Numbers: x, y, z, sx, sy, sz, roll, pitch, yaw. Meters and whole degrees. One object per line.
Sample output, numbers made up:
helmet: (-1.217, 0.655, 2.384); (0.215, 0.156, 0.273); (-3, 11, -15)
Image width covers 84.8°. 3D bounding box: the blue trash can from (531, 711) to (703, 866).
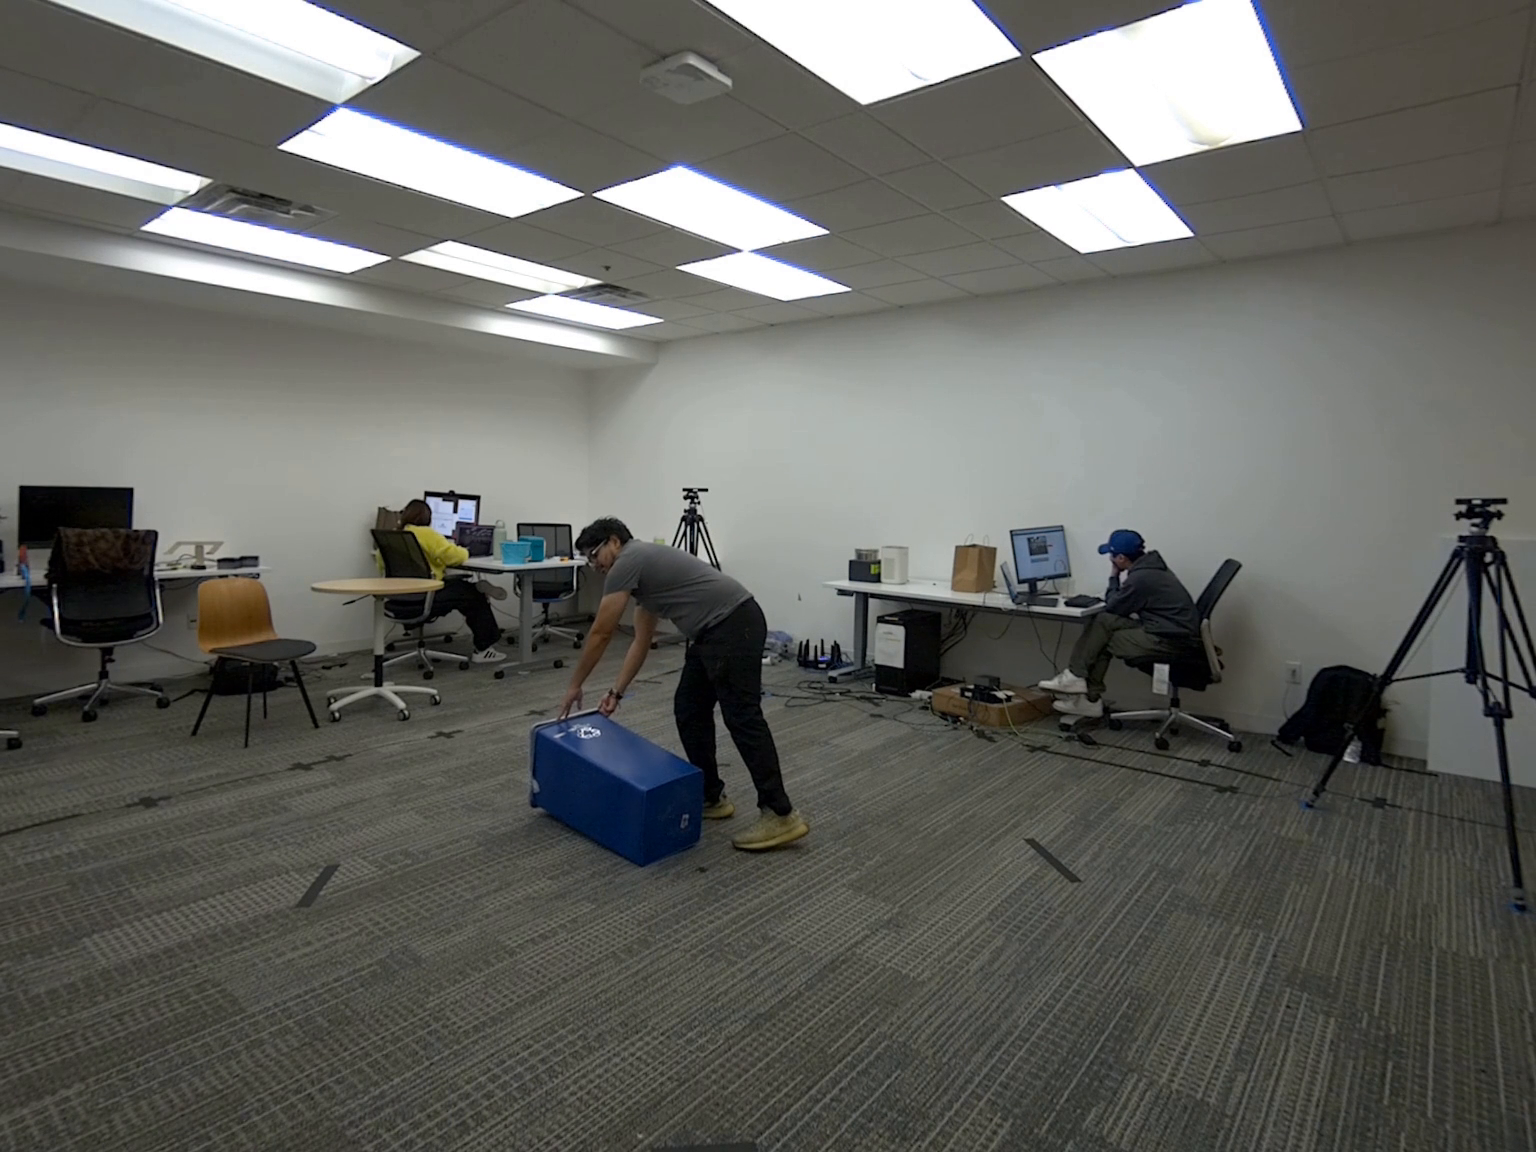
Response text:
blue trash can: (-0.633, 0.840, 3.440); (0.740, 0.371, 0.367); (12, 12, 42)
